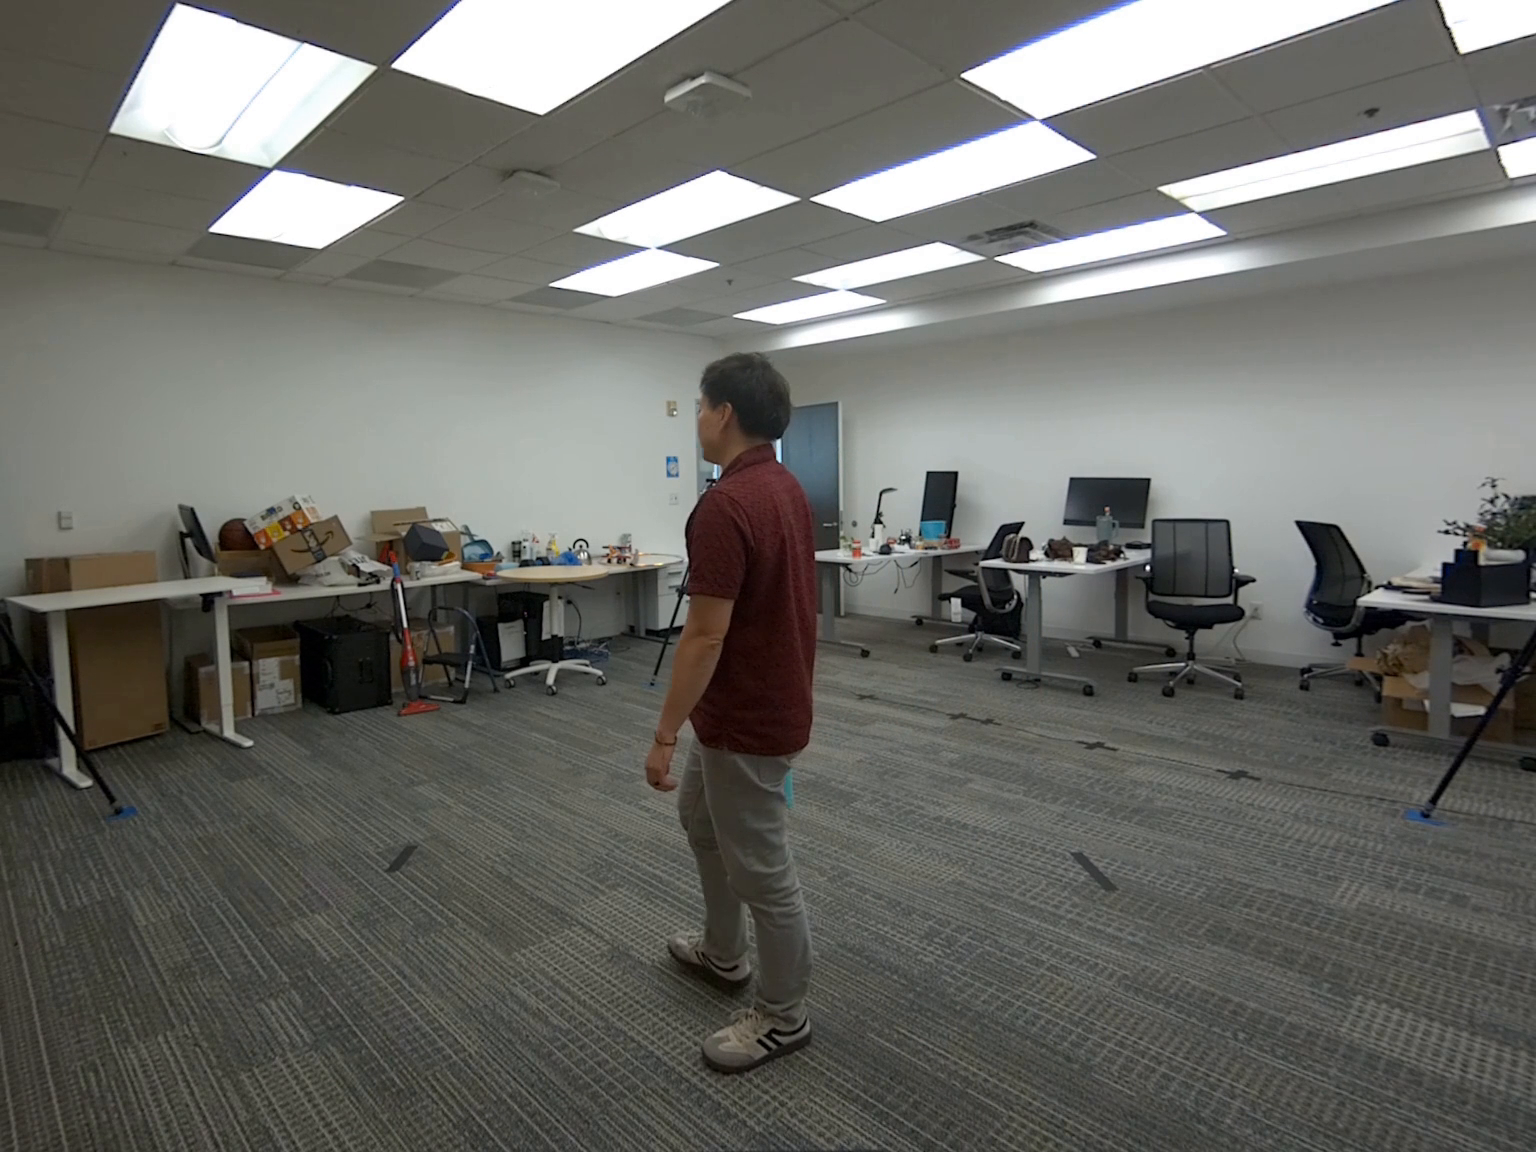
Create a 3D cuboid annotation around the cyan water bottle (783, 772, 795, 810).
[{"bbox_3d":[0.031,0.503,2.380,0.092,0.284,0.092,-1,-4,-2],"label":"cyan water bottle"}]
